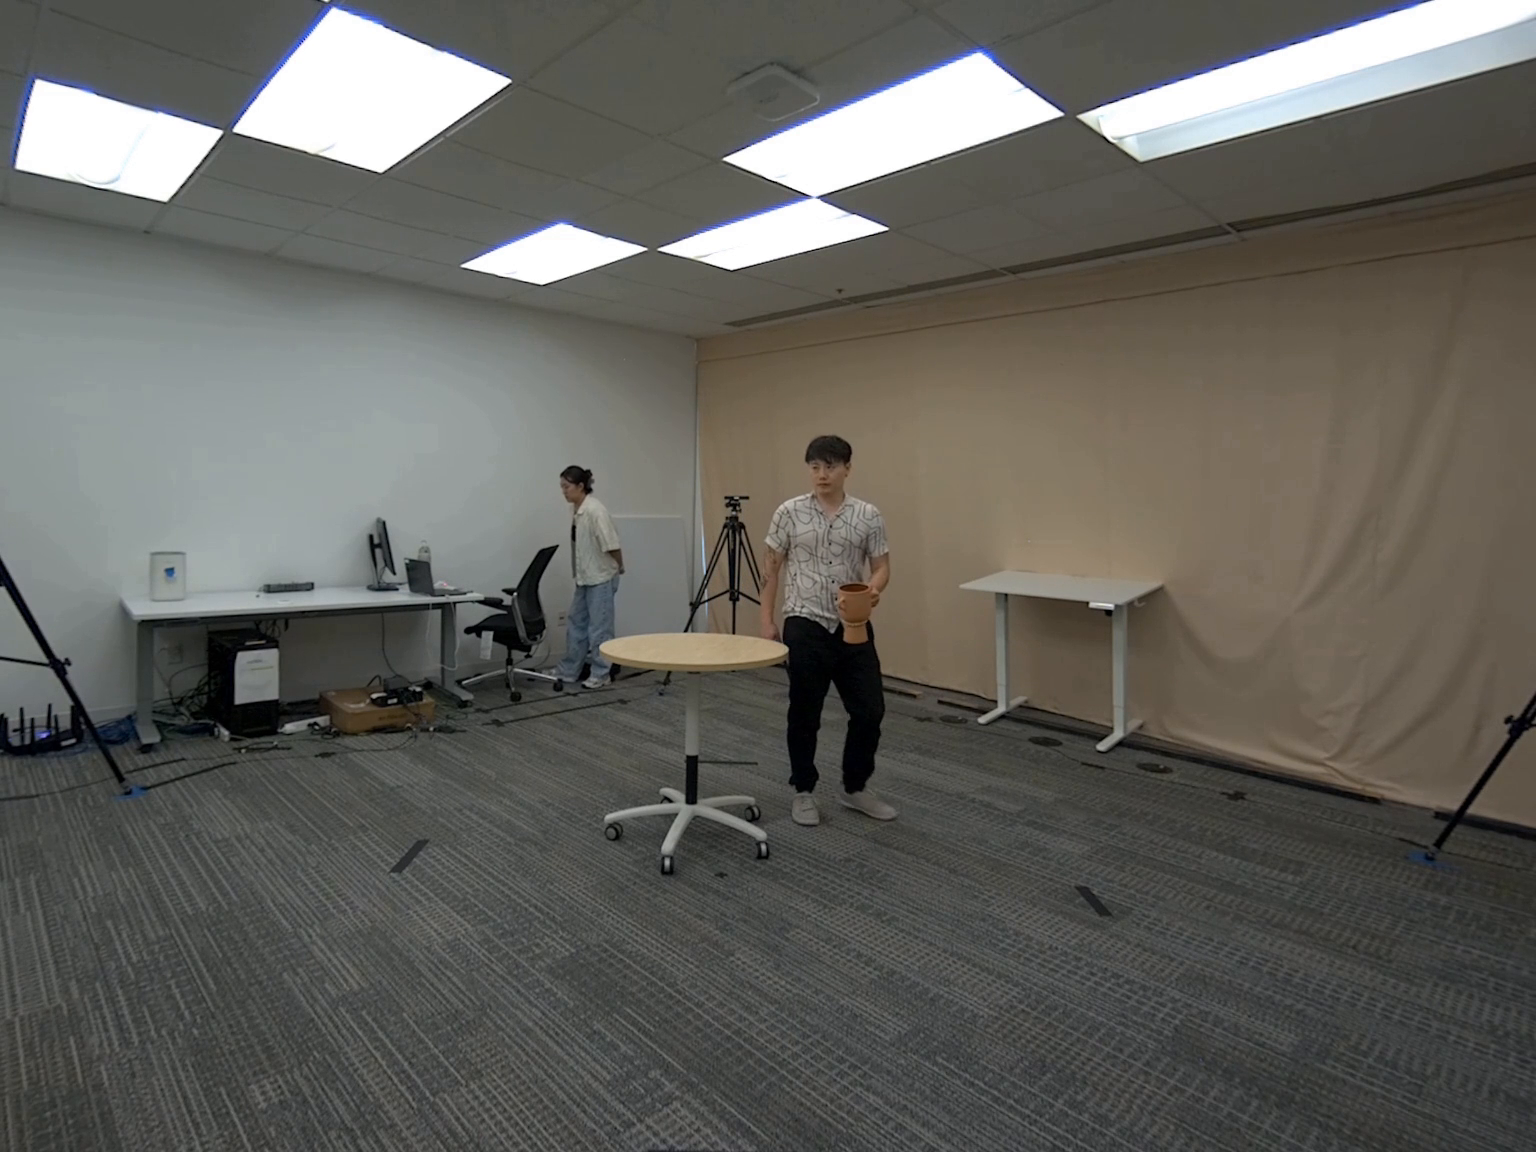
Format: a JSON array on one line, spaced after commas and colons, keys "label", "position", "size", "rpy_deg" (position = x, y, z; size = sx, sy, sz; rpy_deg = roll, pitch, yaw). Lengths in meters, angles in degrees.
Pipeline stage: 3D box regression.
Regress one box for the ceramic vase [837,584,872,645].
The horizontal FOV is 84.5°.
[{"label": "ceramic vase", "position": [0.344, 0.154, 3.385], "size": [0.158, 0.217, 0.136], "rpy_deg": [-4, 14, -6]}]
